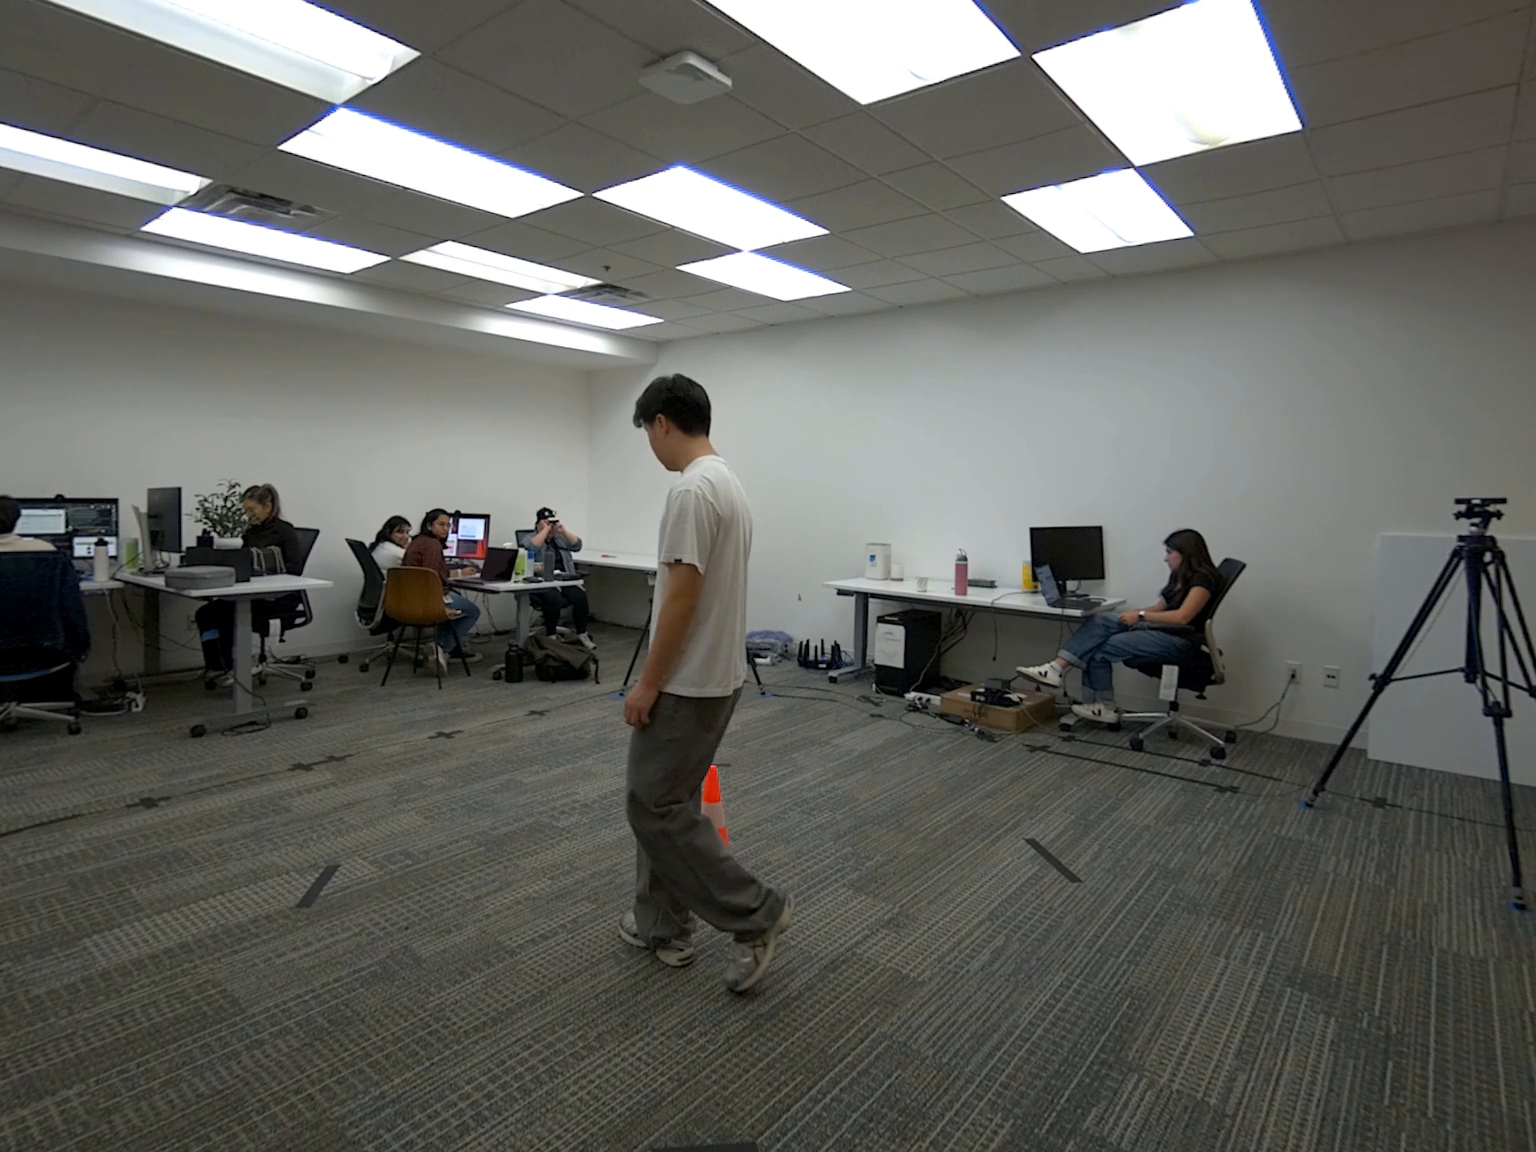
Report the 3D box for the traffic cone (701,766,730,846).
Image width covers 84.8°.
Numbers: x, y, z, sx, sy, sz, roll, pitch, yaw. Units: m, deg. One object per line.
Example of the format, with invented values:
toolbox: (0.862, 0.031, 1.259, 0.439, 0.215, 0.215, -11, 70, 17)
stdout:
traffic cone: (-0.204, 0.876, 3.099, 0.210, 0.383, 0.199, 2, 4, 43)
